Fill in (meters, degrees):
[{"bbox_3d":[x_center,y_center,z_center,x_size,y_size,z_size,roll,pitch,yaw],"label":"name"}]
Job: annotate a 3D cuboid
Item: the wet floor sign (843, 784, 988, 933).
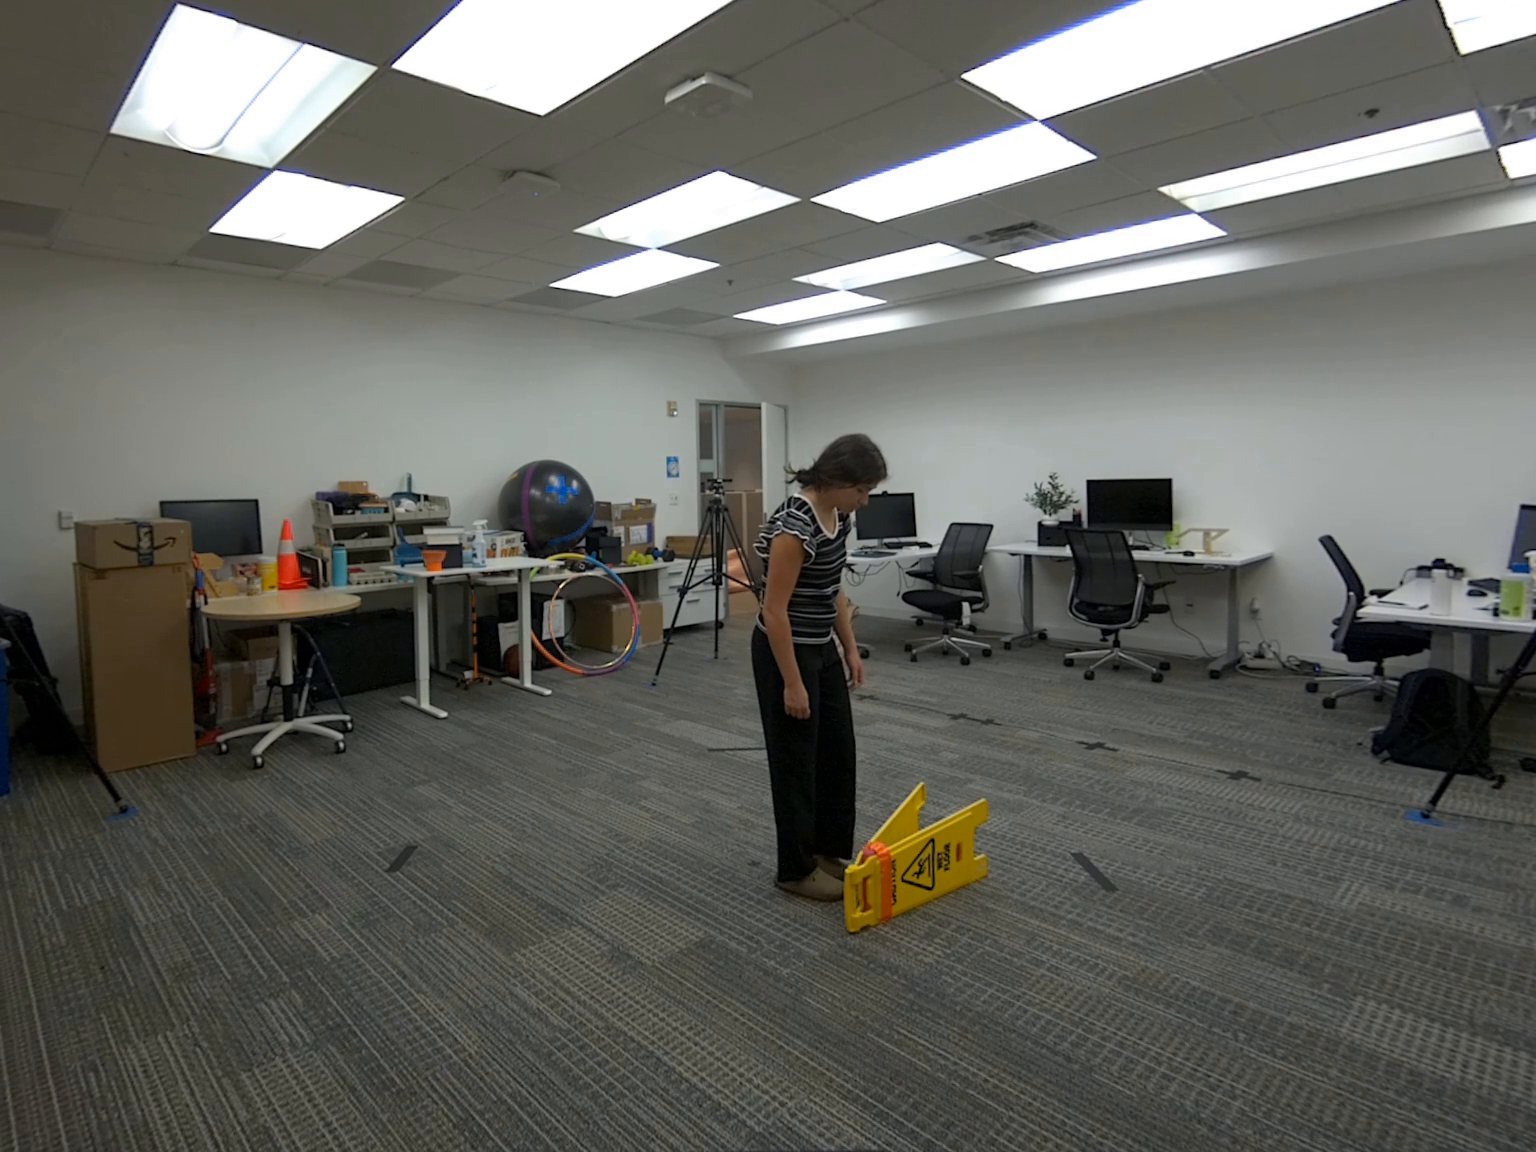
[{"bbox_3d":[0.463,0.944,2.819,0.299,0.280,0.631,4,11,41],"label":"wet floor sign"}]
